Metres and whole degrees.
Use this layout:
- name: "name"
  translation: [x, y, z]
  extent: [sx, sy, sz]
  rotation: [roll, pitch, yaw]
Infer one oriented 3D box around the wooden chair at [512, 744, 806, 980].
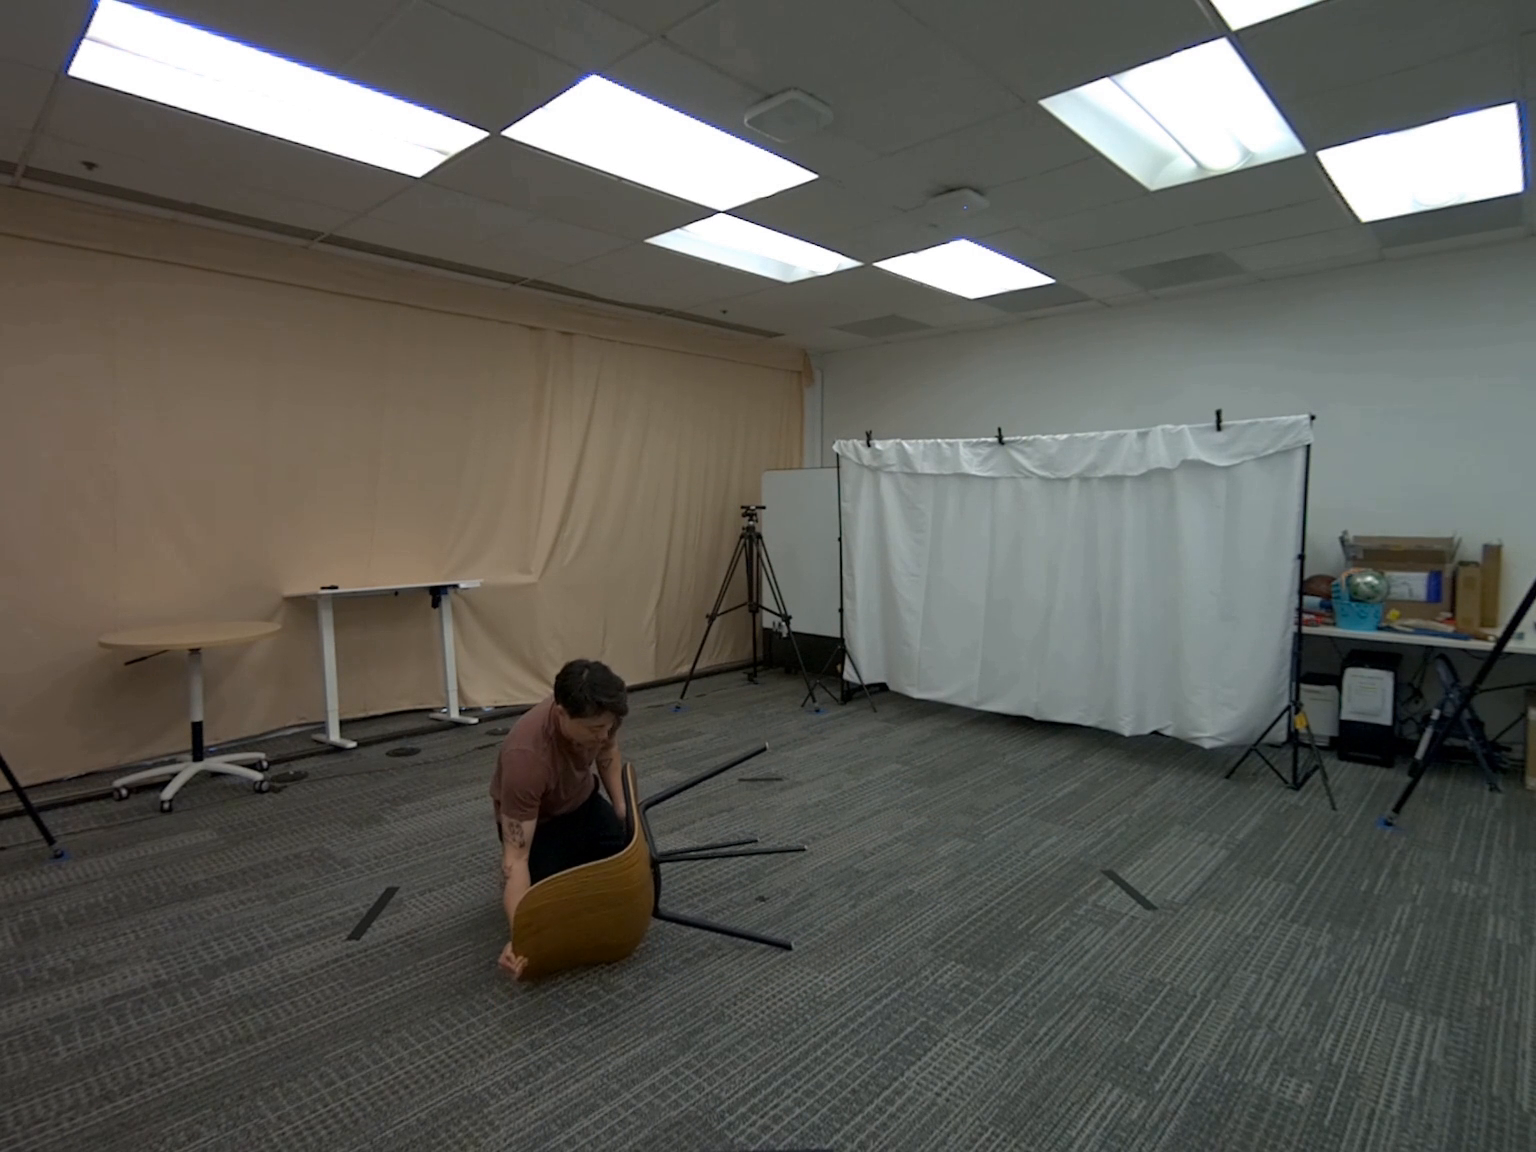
- name: "wooden chair"
  translation: [-0.366, 0.901, 2.635]
  extent: [0.864, 0.471, 0.539]
  rotation: [-5, 31, -16]
